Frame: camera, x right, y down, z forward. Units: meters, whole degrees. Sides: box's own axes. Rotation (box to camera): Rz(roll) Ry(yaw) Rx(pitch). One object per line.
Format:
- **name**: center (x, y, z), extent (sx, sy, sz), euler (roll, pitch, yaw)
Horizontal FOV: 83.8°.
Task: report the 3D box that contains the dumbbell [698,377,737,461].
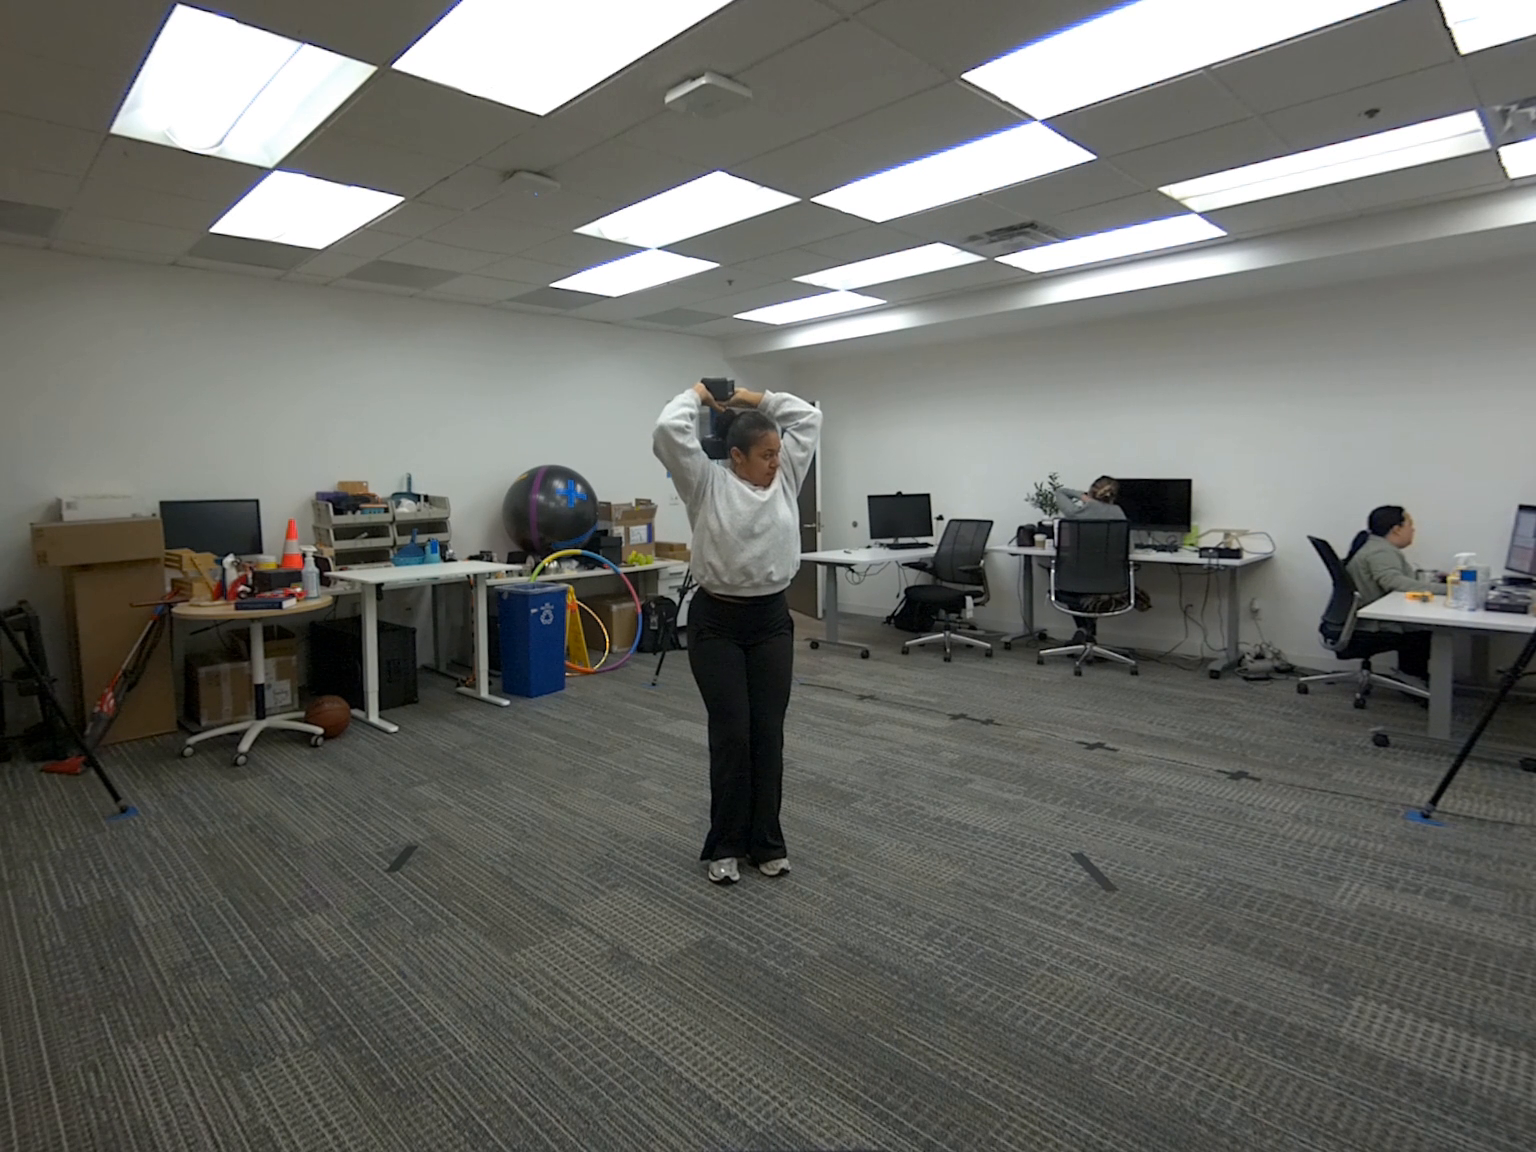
- **dumbbell**: center (-0.173, -0.578, 3.081), extent (0.111, 0.290, 0.122), euler (5, 14, 20)
